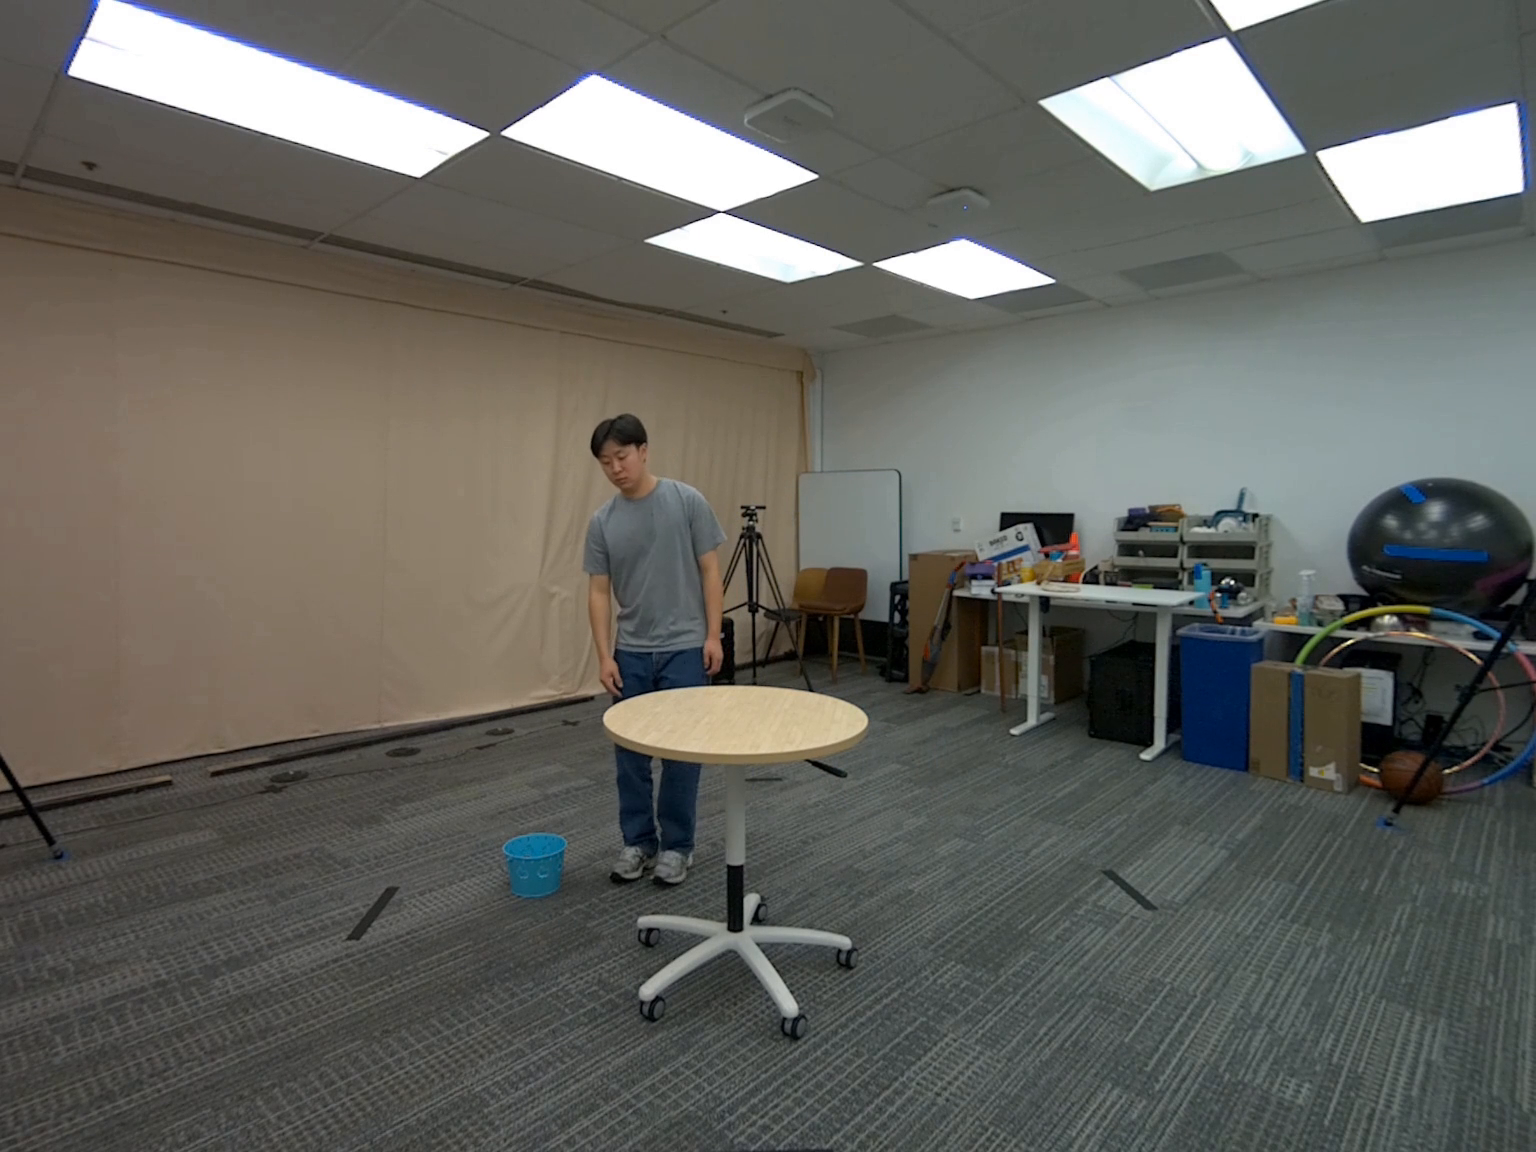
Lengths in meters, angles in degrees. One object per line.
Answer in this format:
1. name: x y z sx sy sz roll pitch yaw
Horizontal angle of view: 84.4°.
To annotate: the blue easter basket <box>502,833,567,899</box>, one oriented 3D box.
1. blue easter basket: -0.855 1.063 3.103 0.243 0.155 0.244 -1 4 -2
